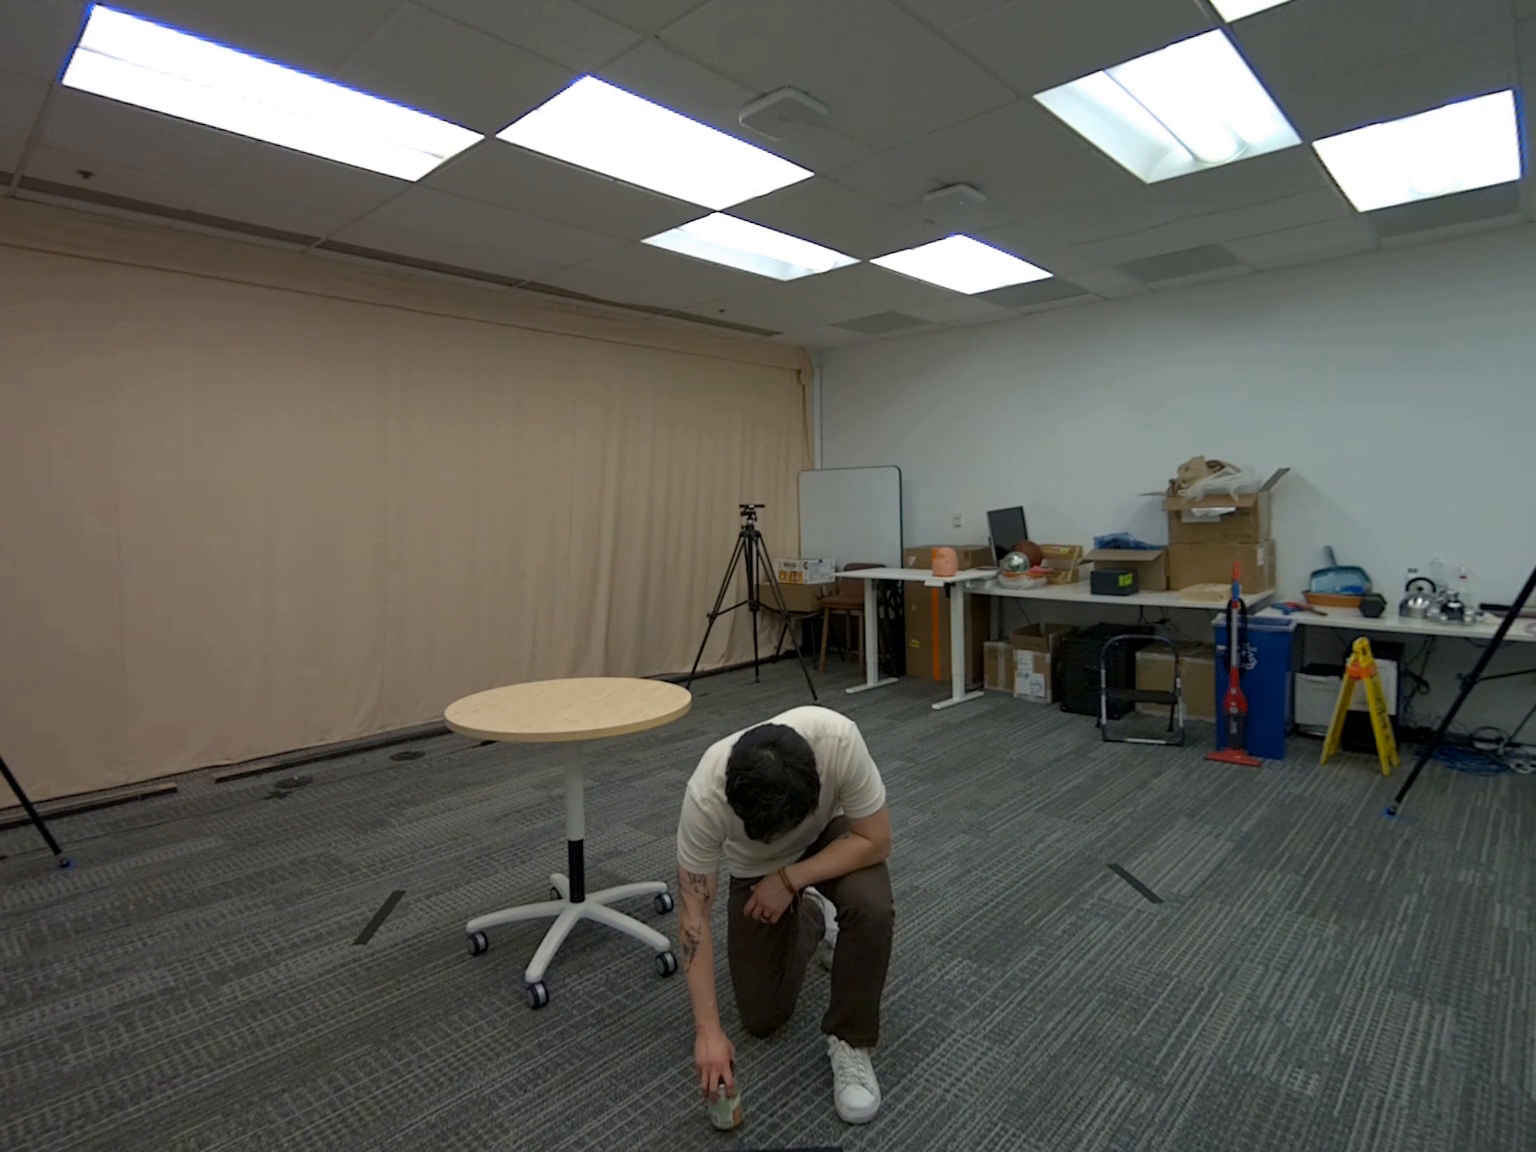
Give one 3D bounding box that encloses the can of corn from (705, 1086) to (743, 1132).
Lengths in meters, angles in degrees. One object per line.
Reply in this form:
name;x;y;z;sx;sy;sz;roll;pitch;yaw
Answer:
can of corn;-0.093;1.157;1.885;0.074;0.110;0.075;-4;13;-1
